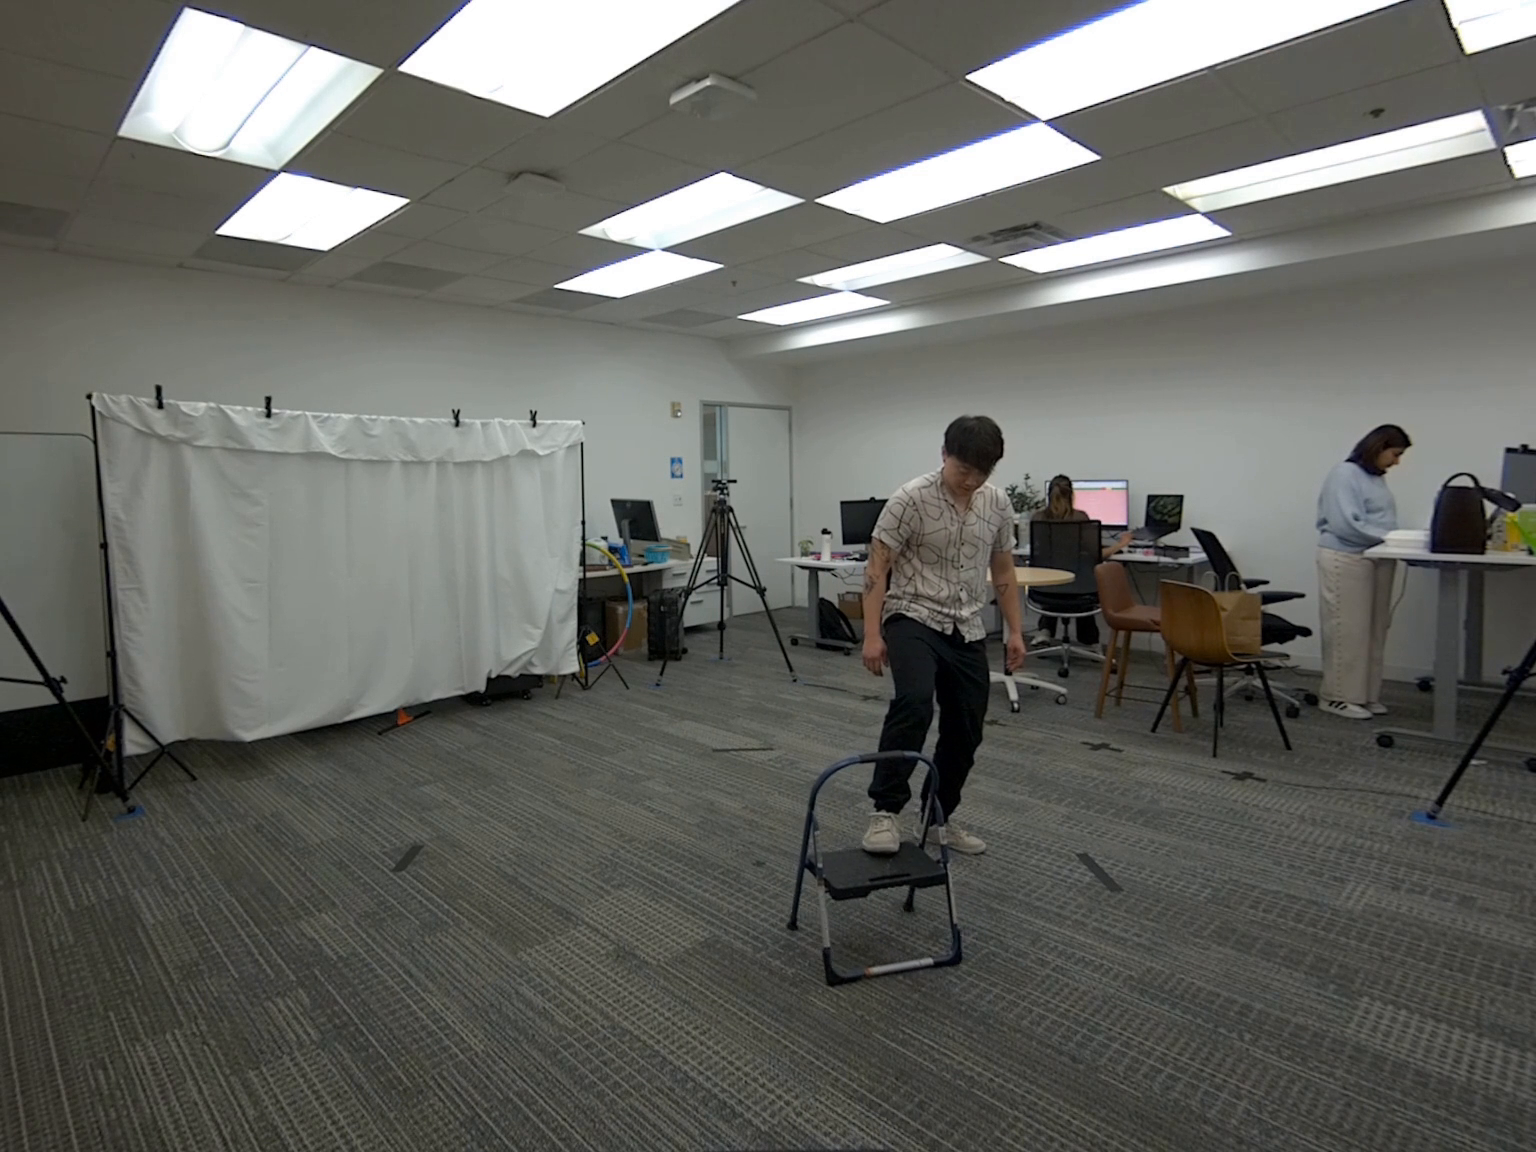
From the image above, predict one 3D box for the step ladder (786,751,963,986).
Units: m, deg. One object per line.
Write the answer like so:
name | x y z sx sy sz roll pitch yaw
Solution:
step ladder | 0.310 0.807 2.539 0.424 0.603 0.356 -3 5 -17
